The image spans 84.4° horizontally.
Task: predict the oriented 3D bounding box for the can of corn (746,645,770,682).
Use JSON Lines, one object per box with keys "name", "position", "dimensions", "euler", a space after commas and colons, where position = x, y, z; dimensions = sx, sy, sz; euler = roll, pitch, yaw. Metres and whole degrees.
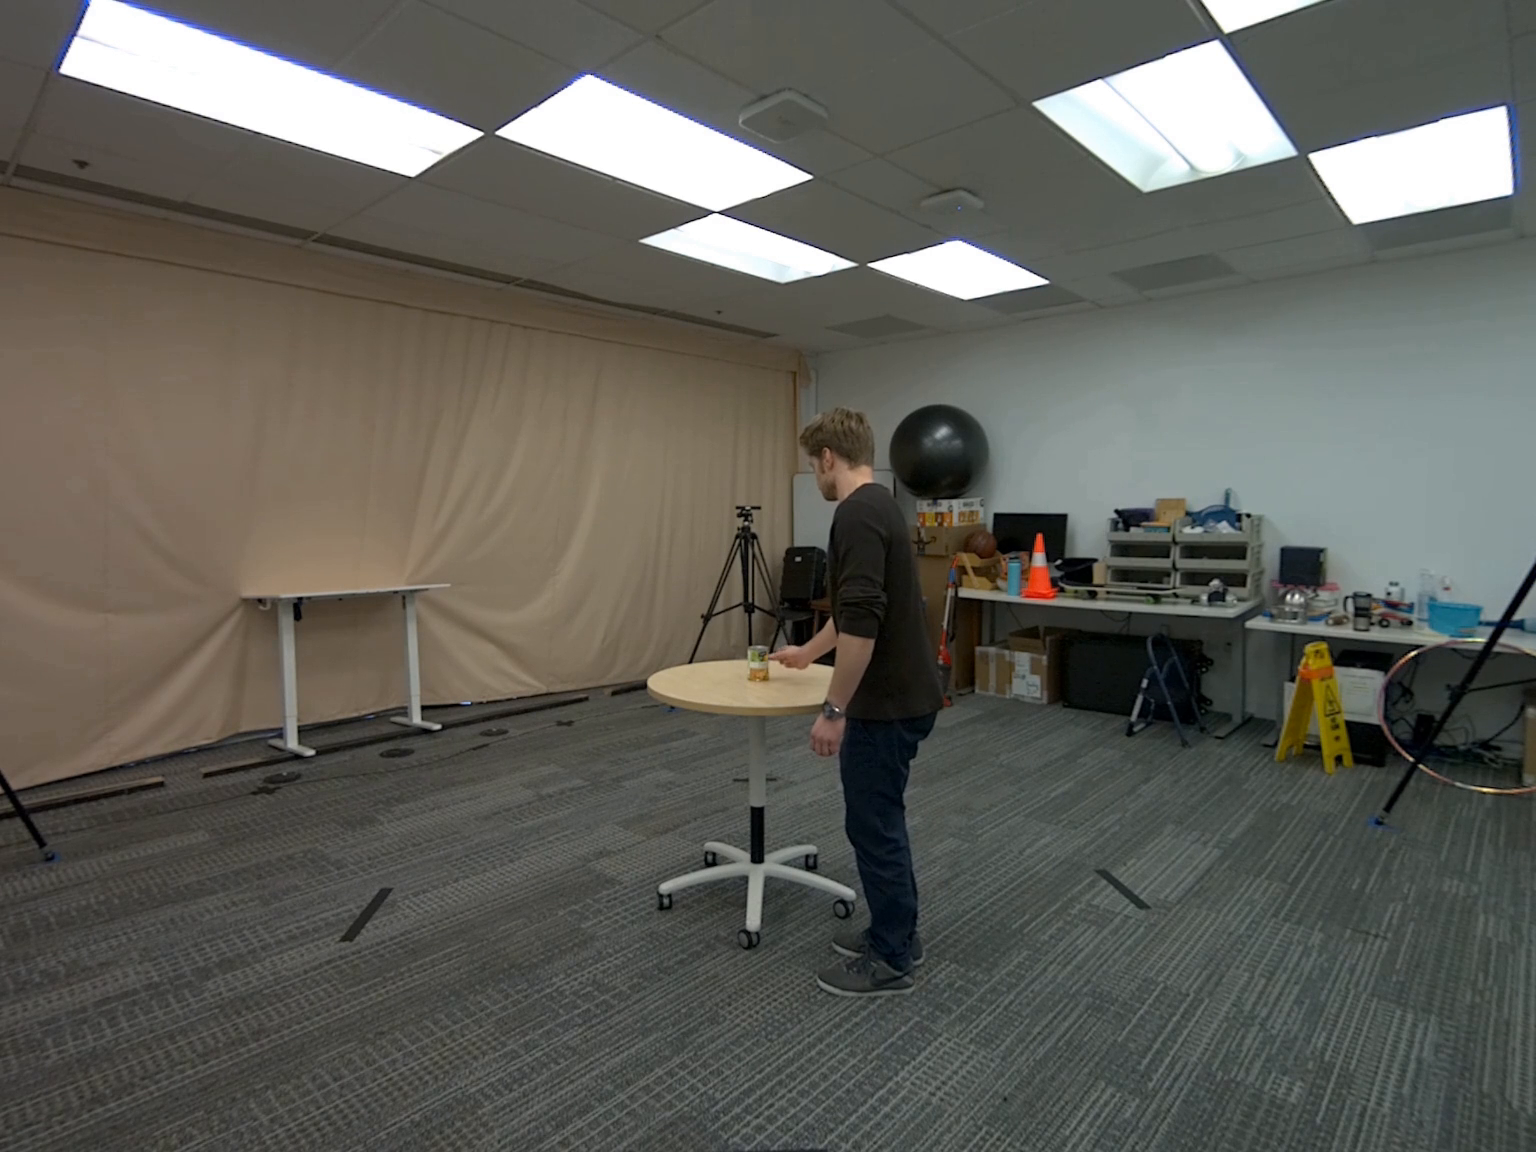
{"name": "can of corn", "position": [-0.030, 0.309, 2.948], "dimensions": [0.074, 0.111, 0.074], "euler": [0, 4, -2]}
